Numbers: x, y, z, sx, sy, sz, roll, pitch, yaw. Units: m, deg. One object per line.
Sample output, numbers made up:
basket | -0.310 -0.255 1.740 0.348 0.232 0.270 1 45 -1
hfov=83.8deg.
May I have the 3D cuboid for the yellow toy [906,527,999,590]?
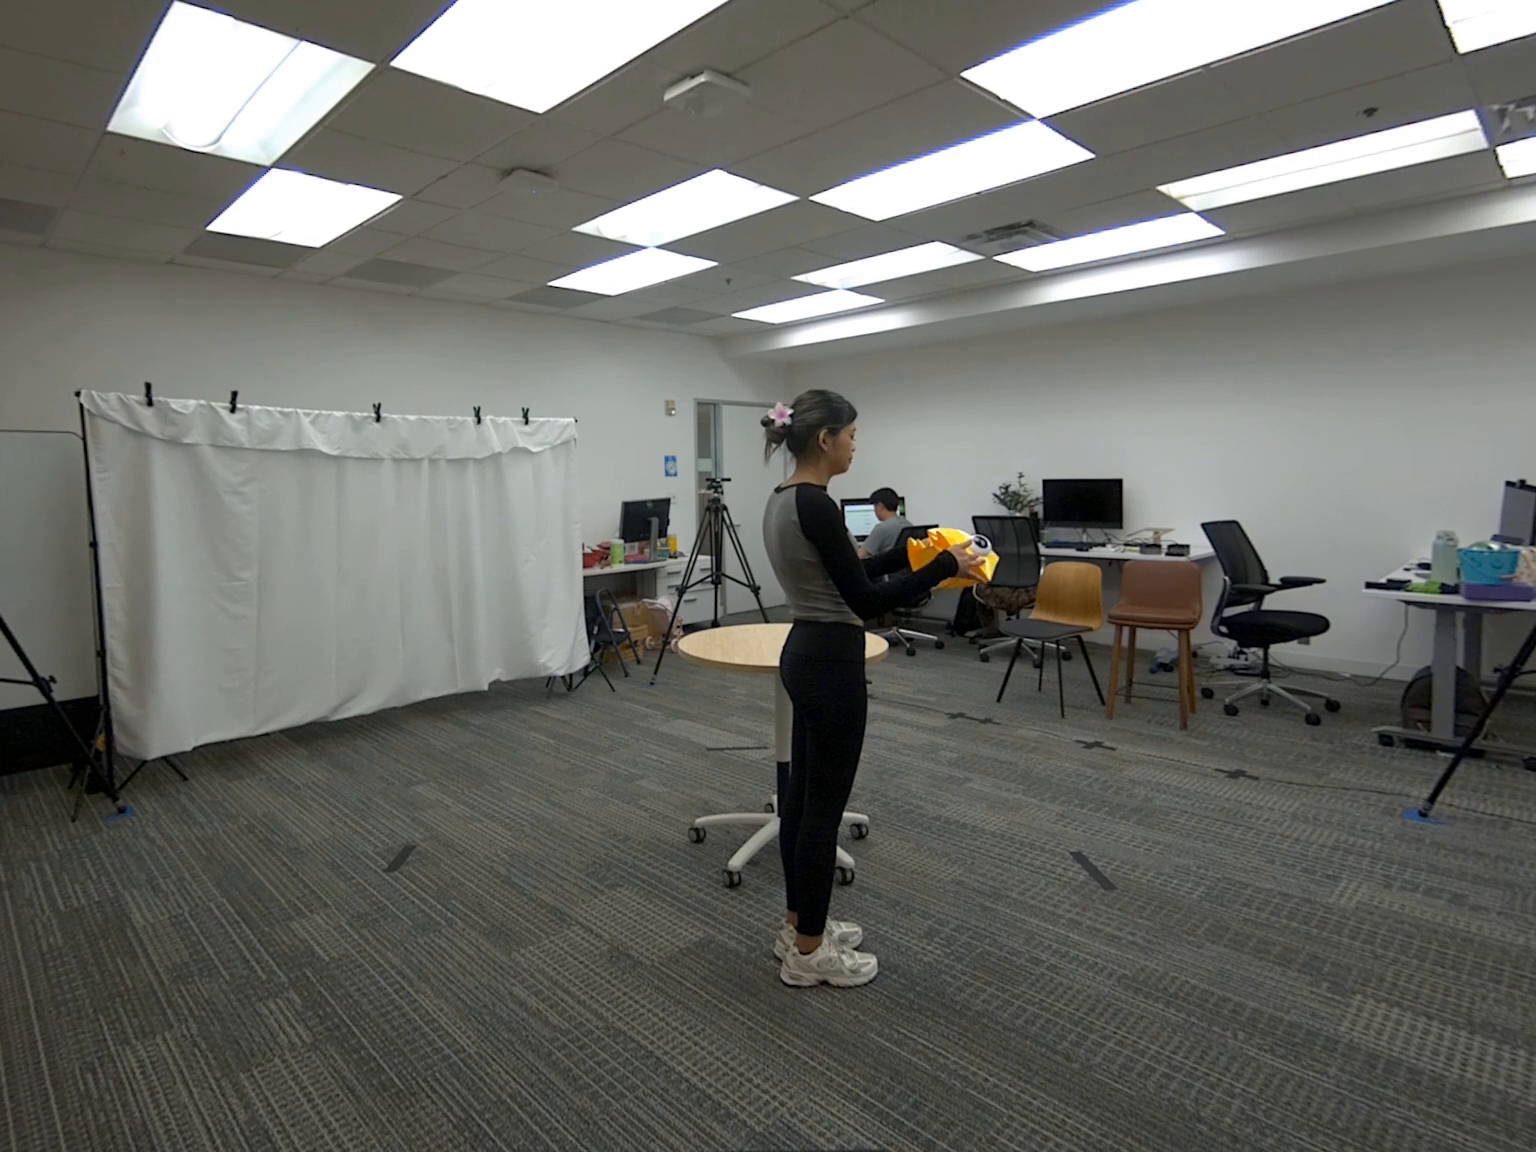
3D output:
yellow toy | 0.561 -0.066 2.449 0.227 0.193 0.207 -21 1 -26
